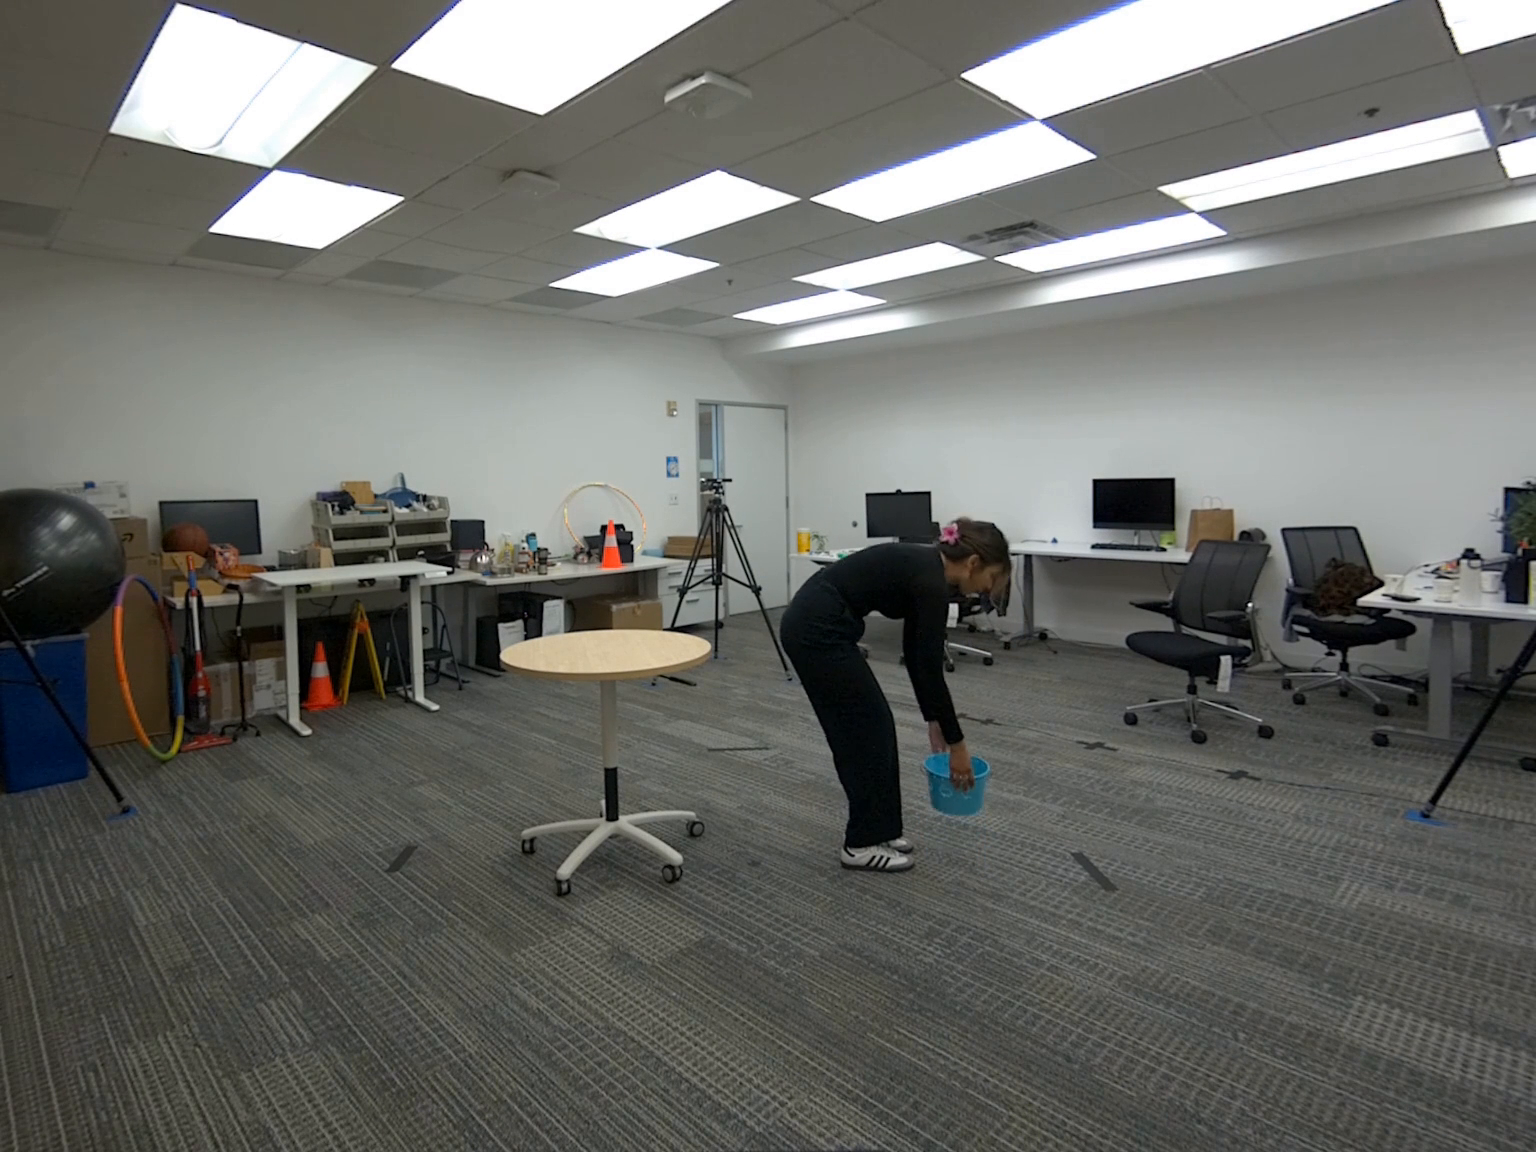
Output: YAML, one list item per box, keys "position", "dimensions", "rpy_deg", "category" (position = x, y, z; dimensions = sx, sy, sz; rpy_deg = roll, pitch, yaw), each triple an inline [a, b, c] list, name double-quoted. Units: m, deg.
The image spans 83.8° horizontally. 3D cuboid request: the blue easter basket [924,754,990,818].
- position: [0.677, 0.737, 3.080]
  dimensions: [0.243, 0.154, 0.246]
  rpy_deg: [-2, 11, -1]
  category: "blue easter basket"
